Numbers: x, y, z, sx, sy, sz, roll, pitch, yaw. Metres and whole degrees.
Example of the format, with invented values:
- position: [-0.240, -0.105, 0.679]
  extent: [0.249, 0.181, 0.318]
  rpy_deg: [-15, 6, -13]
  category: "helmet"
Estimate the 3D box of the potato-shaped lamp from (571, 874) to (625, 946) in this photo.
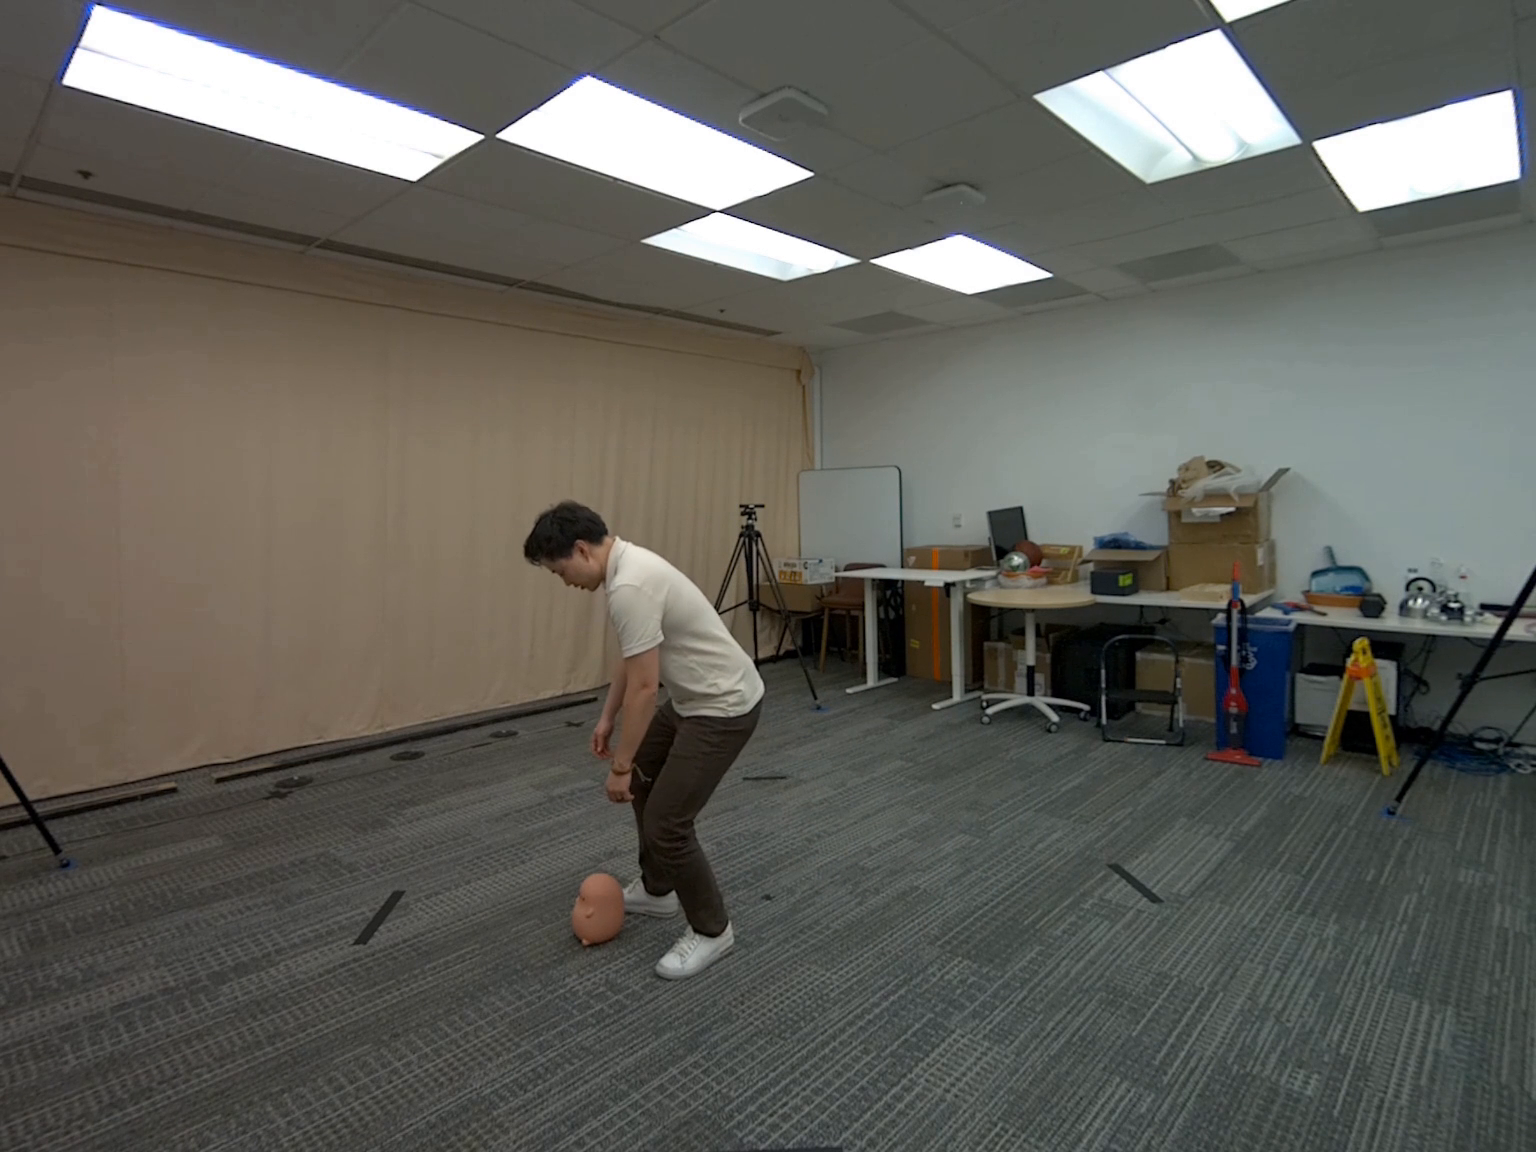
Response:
- position: [-0.551, 1.073, 2.734]
  extent: [0.166, 0.198, 0.170]
  rpy_deg: [2, 2, -32]
  category: "potato-shaped lamp"
